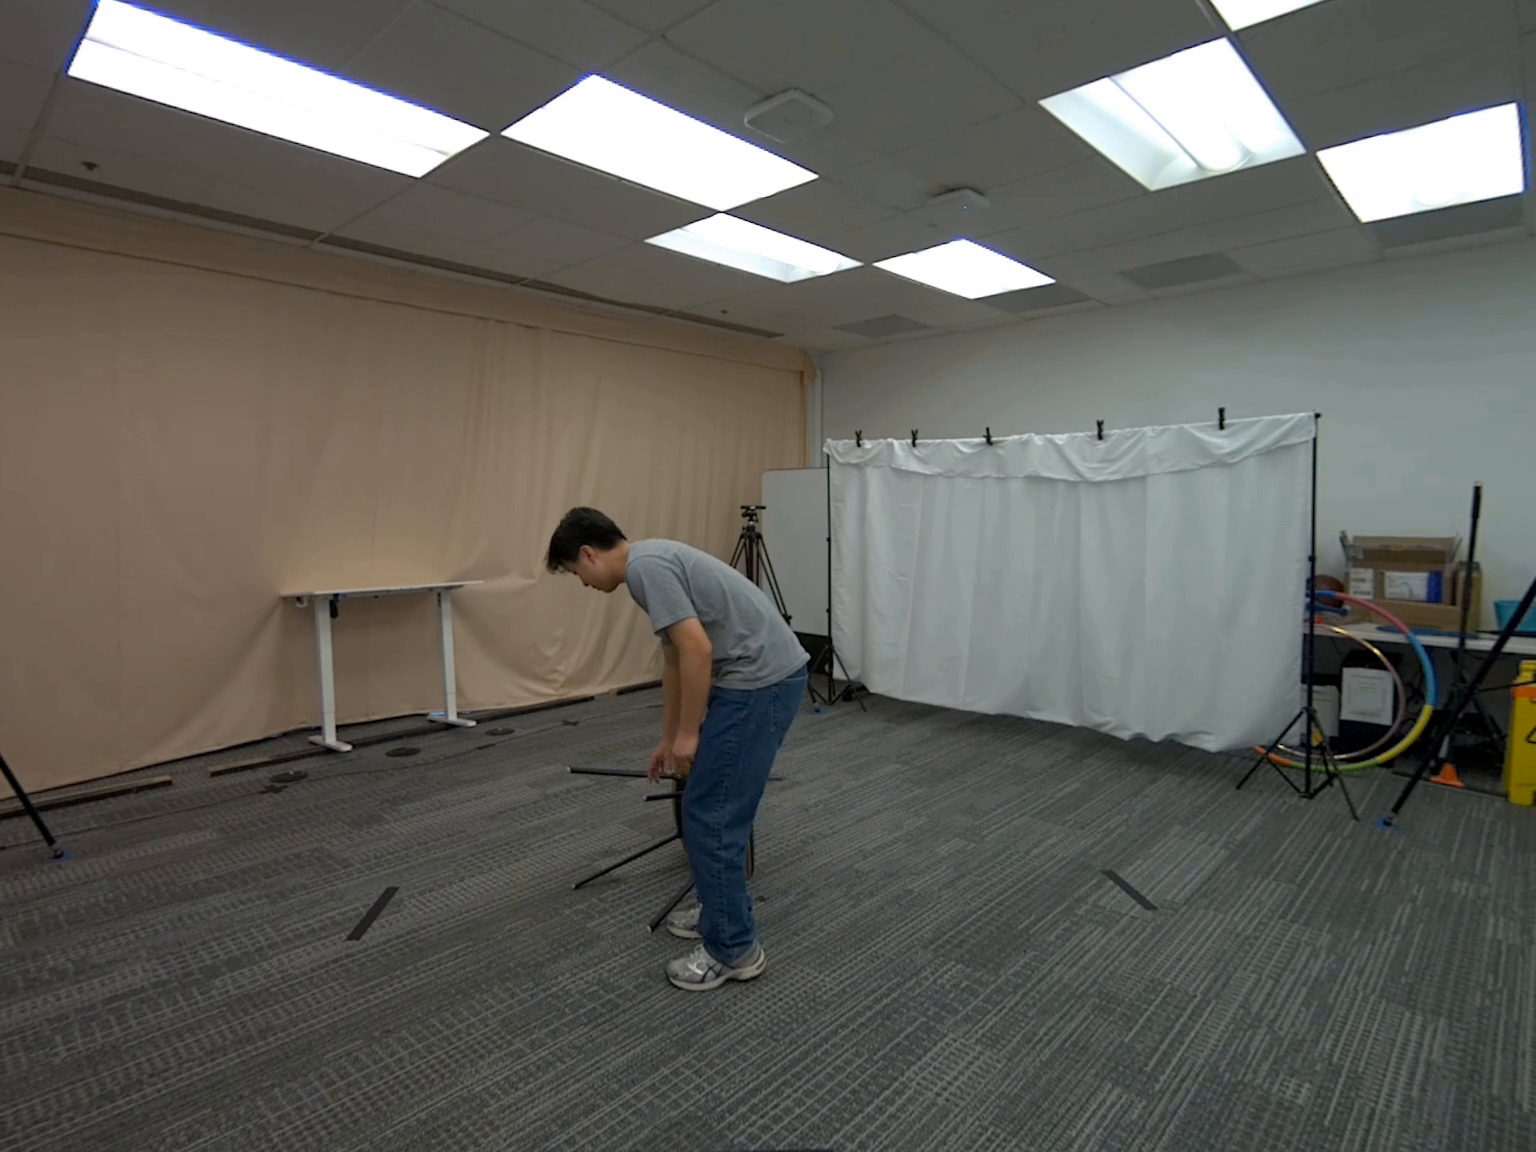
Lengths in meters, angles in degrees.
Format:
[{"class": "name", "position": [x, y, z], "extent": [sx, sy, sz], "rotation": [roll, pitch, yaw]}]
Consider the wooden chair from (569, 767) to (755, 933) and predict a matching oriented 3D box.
[{"class": "wooden chair", "position": [-0.264, 0.896, 3.183], "extent": [0.540, 0.477, 0.851], "rotation": [2, 6, 40]}]
